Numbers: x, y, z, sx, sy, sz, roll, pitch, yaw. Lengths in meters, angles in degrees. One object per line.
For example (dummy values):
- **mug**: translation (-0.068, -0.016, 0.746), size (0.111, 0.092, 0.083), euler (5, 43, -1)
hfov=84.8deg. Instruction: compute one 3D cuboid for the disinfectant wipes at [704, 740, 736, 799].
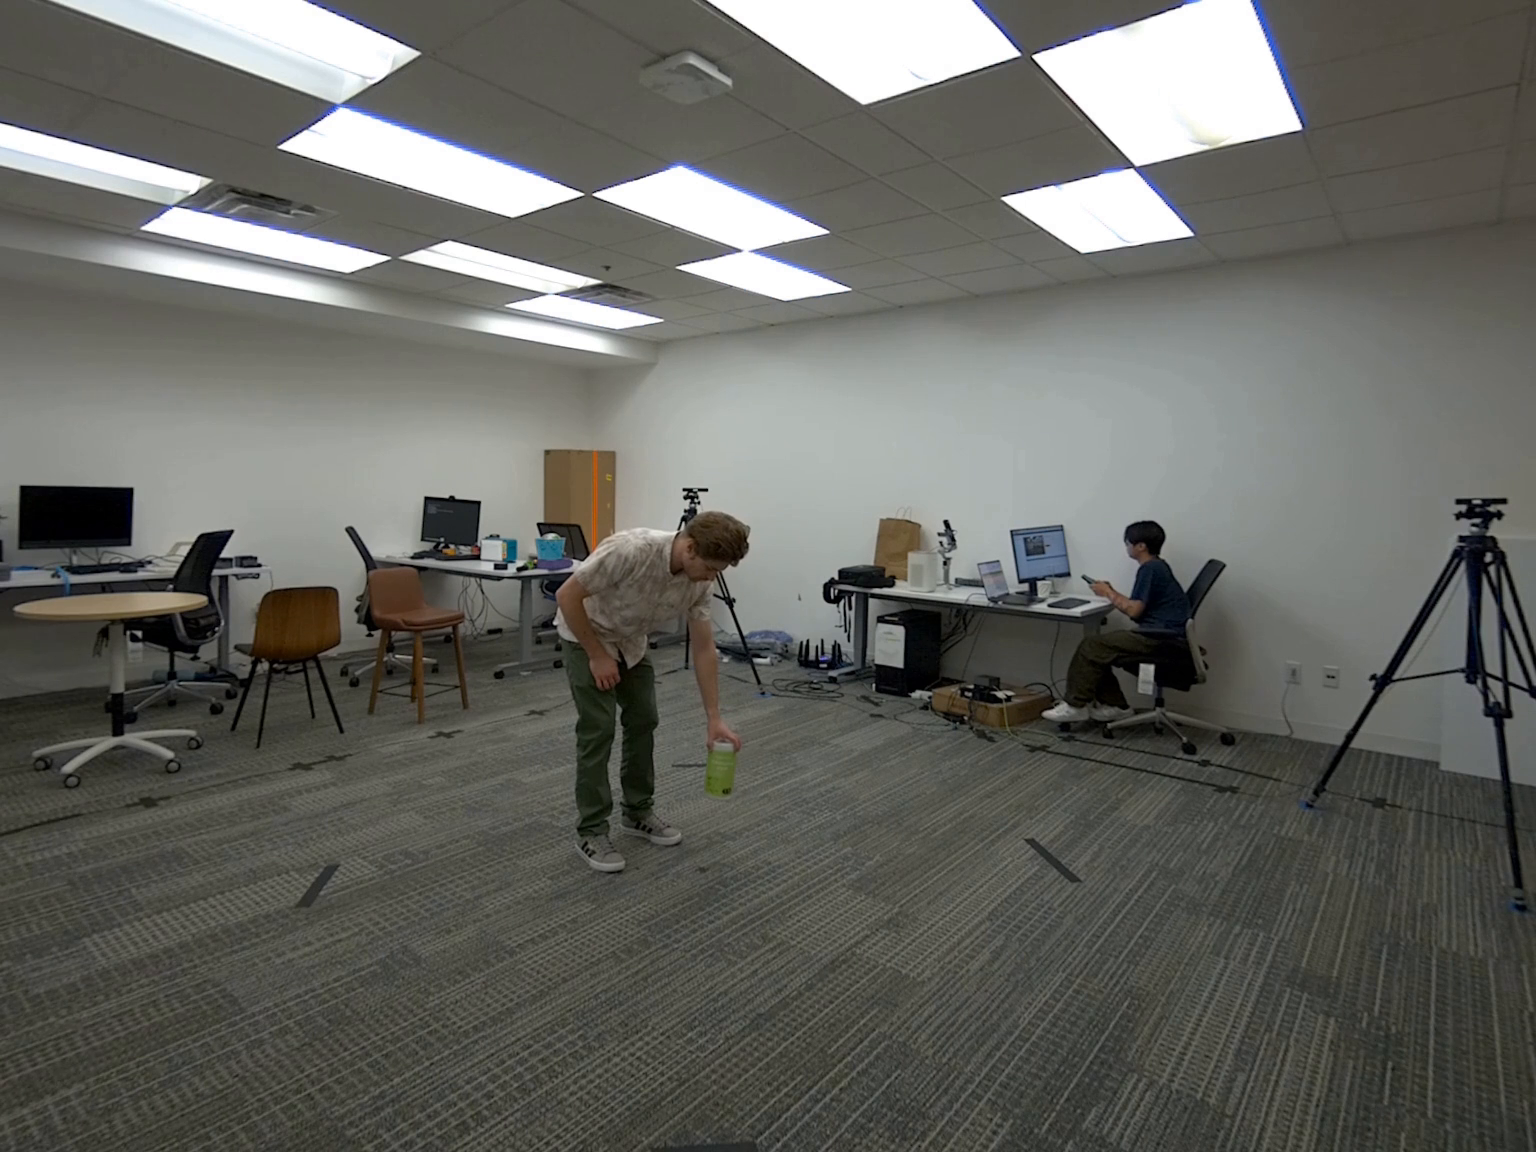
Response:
- **disinfectant wipes**: translation (-0.194, 0.733, 3.218), size (0.117, 0.217, 0.118), euler (6, 1, -2)
